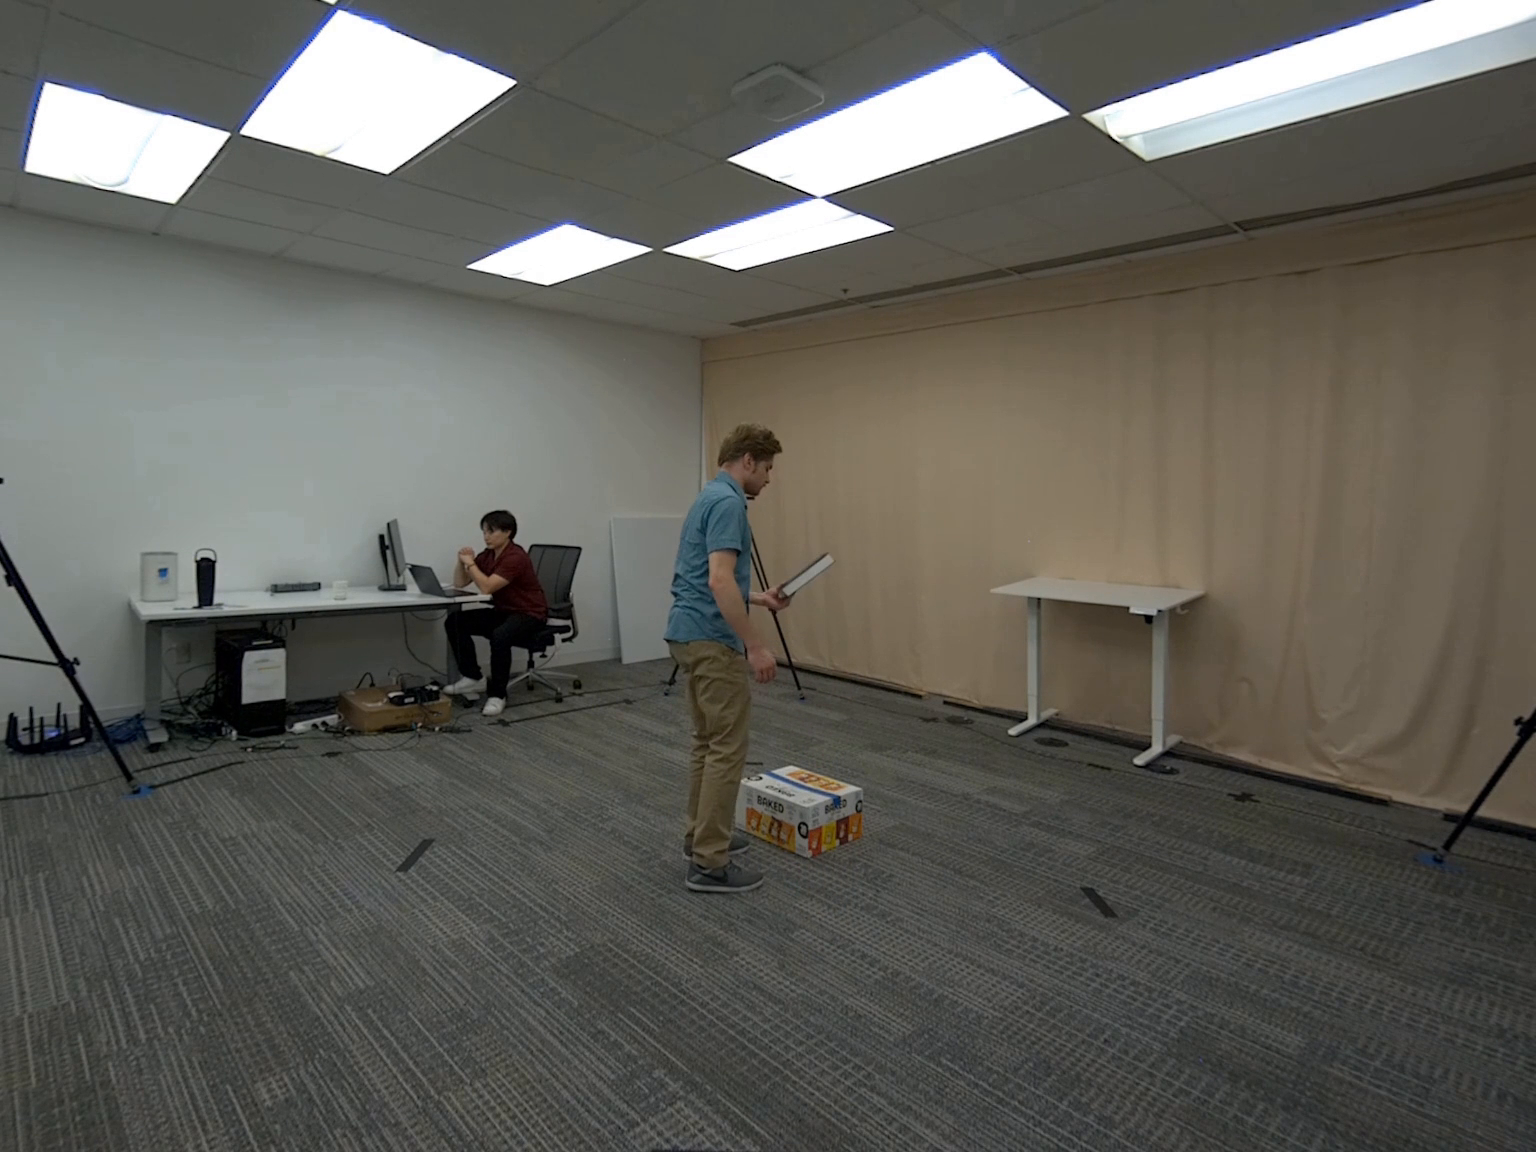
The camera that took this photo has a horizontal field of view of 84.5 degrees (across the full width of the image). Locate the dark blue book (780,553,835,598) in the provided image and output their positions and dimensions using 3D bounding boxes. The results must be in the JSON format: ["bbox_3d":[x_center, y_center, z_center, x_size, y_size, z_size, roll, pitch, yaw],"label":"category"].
[{"bbox_3d":[0.149,0.001,3.440,0.245,0.045,0.164,-38,3,-4],"label":"dark blue book"}]
